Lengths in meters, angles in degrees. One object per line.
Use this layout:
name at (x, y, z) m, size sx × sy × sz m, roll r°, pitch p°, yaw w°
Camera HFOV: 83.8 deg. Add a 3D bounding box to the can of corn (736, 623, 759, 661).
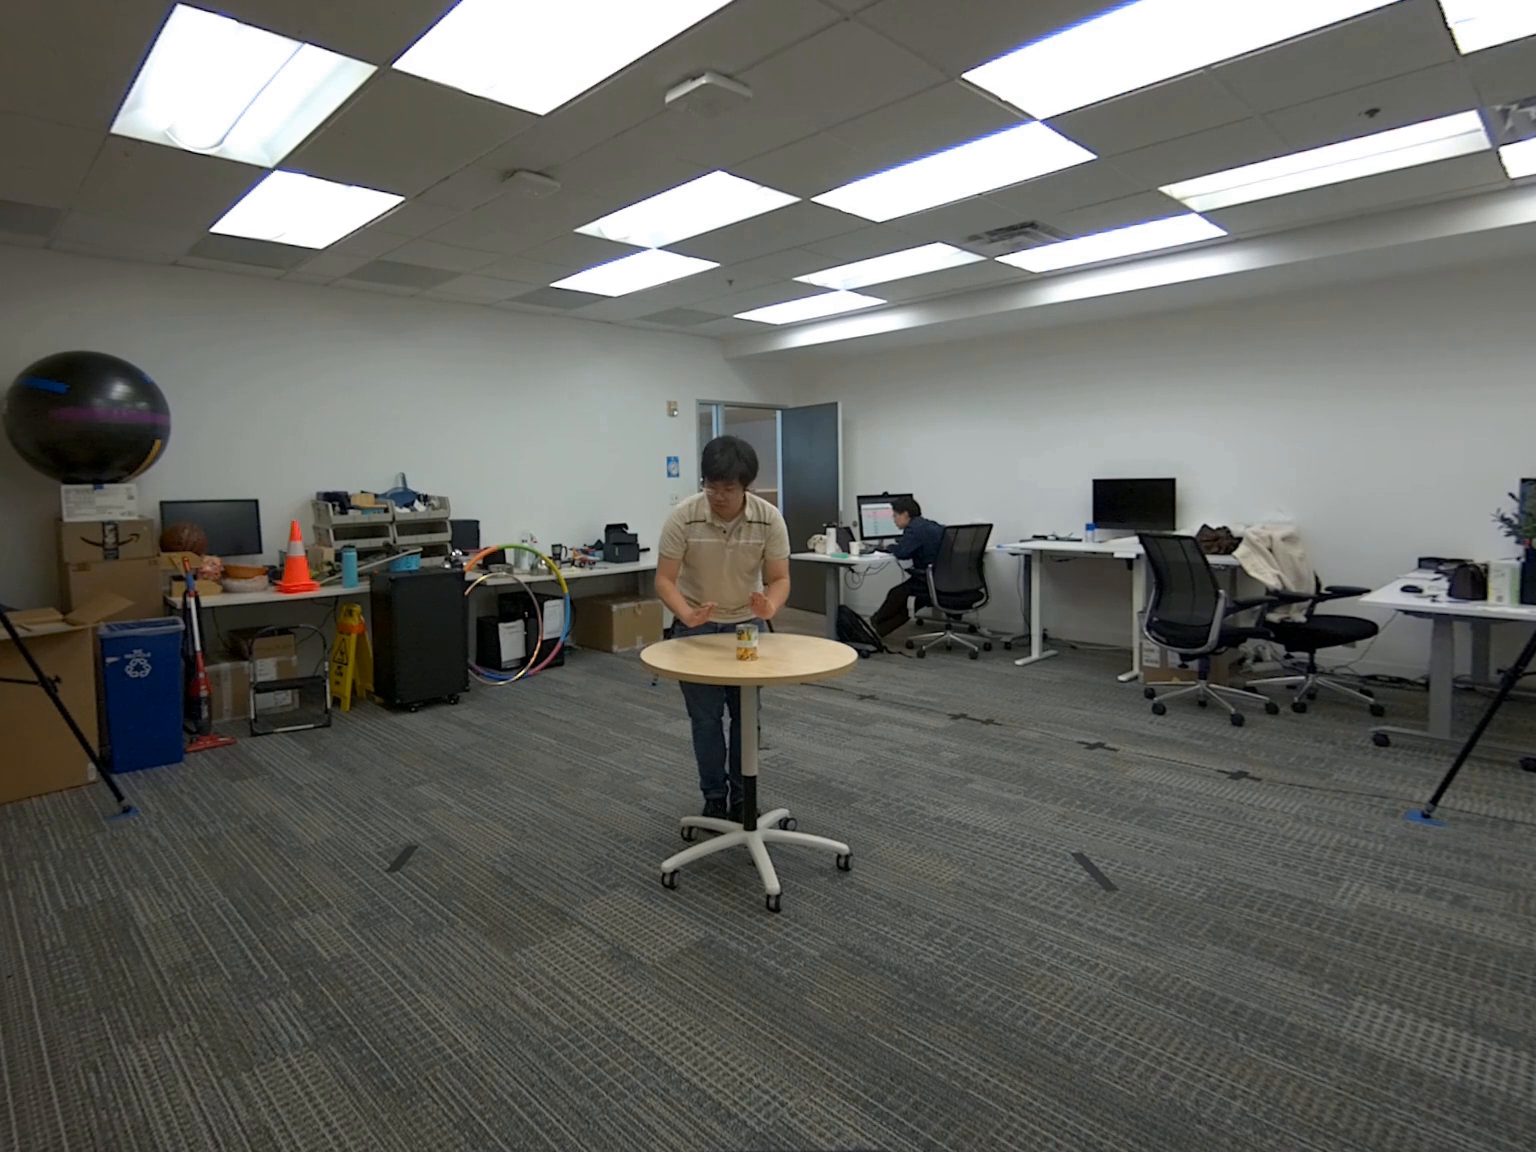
can of corn at (-0.078, 0.231, 2.918) m, size 0.074 × 0.110 × 0.074 m, roll 0°, pitch 5°, yaw -2°
